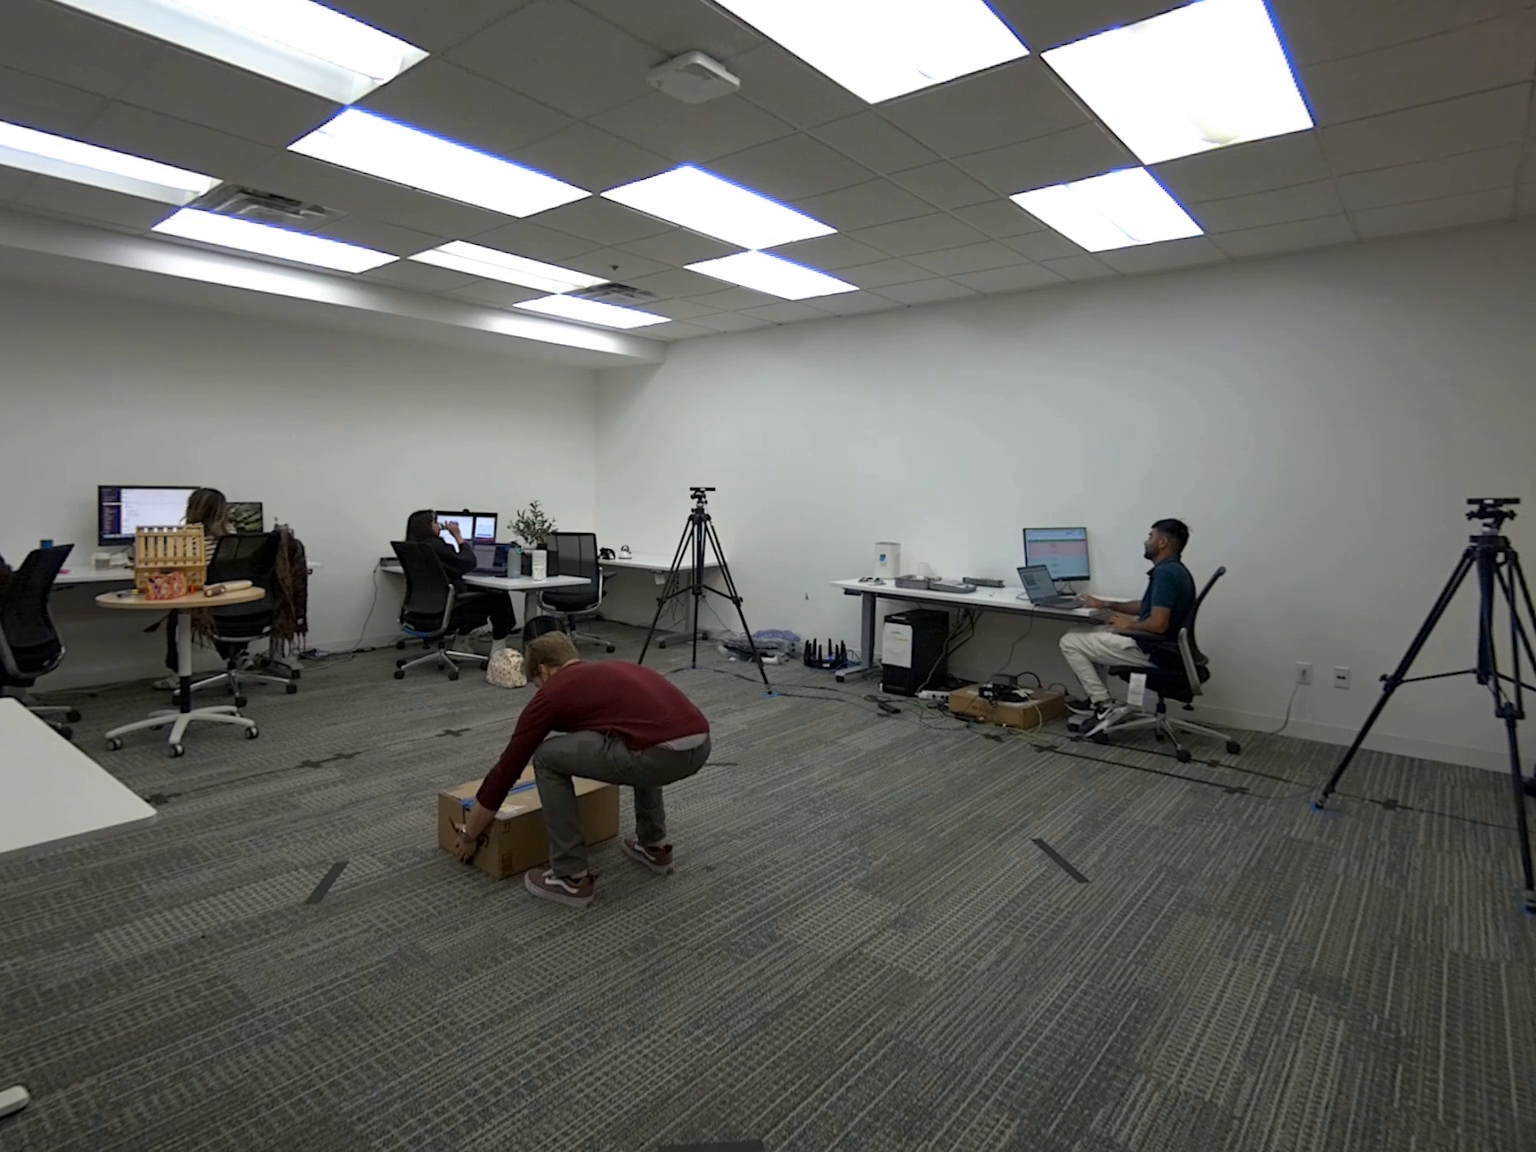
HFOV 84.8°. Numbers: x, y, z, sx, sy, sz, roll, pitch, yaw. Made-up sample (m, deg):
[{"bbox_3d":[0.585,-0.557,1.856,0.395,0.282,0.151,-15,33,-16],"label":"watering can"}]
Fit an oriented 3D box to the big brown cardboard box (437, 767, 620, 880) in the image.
[{"bbox_3d":[-0.937,0.921,3.317,0.431,0.232,0.571,5,5,39],"label":"big brown cardboard box"}]
